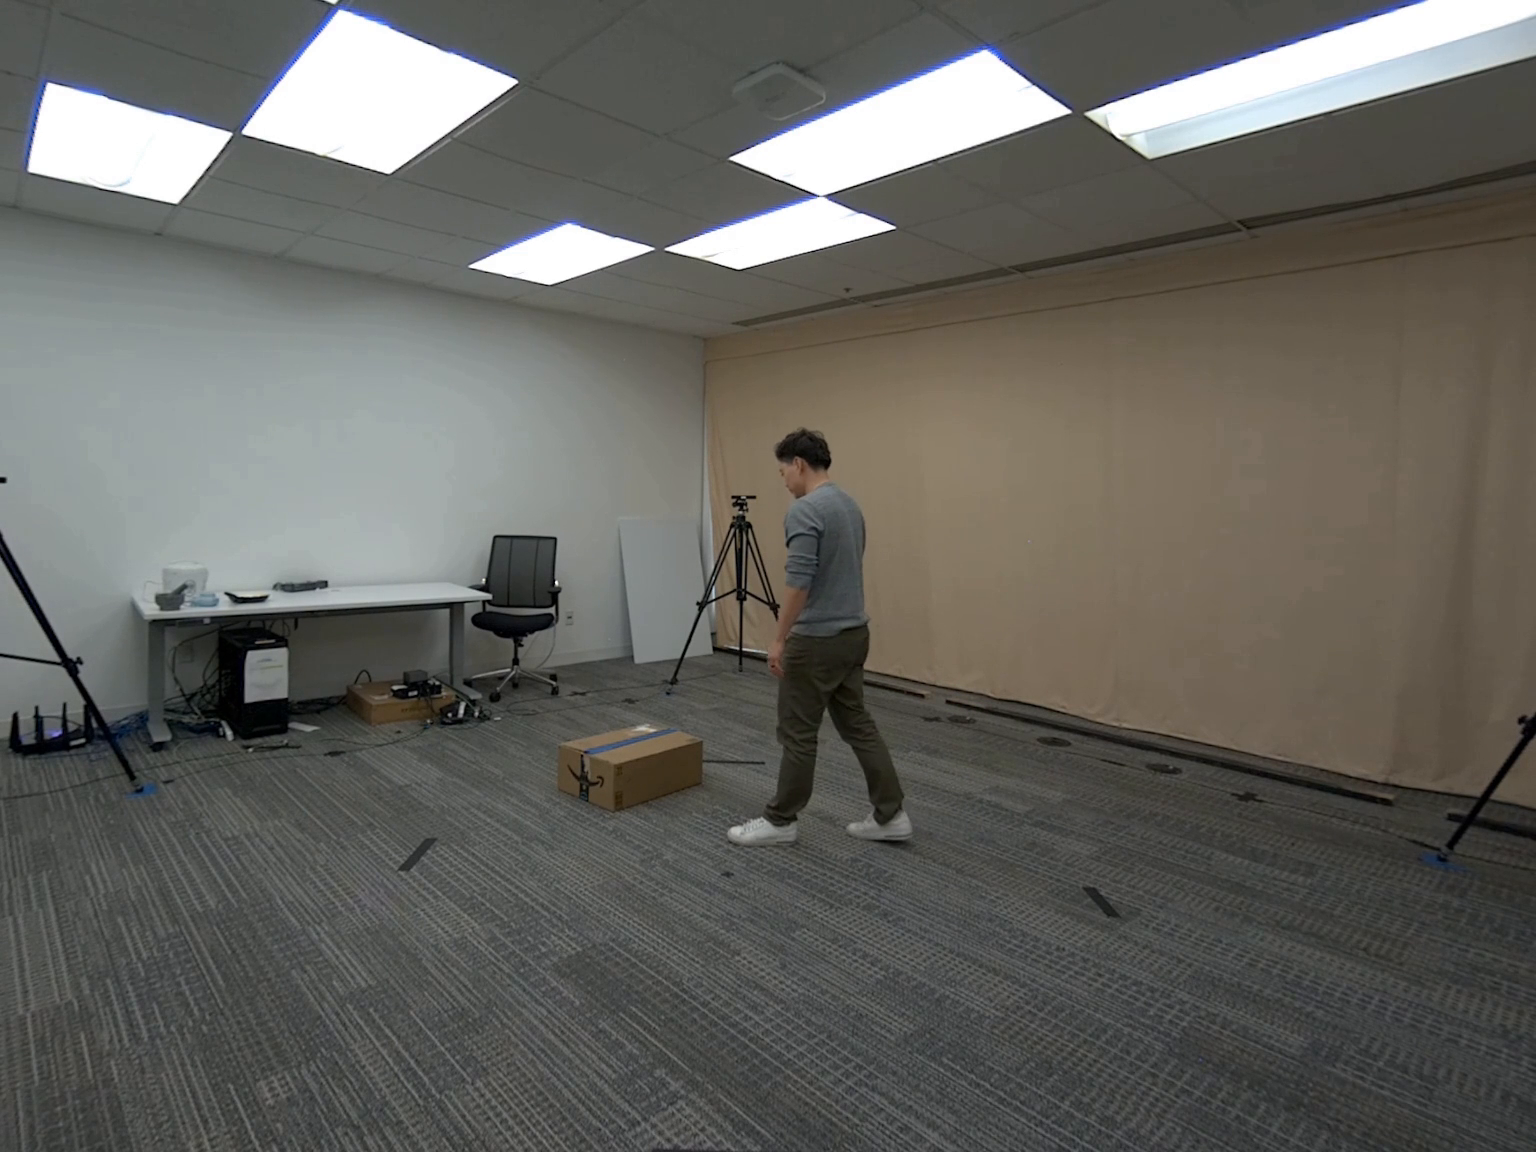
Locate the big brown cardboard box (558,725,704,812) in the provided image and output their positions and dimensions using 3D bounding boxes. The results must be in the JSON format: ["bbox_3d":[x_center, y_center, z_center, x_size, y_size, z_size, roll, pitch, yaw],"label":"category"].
[{"bbox_3d":[-0.658,0.897,4.031,0.428,0.232,0.576,5,7,40],"label":"big brown cardboard box"}]
